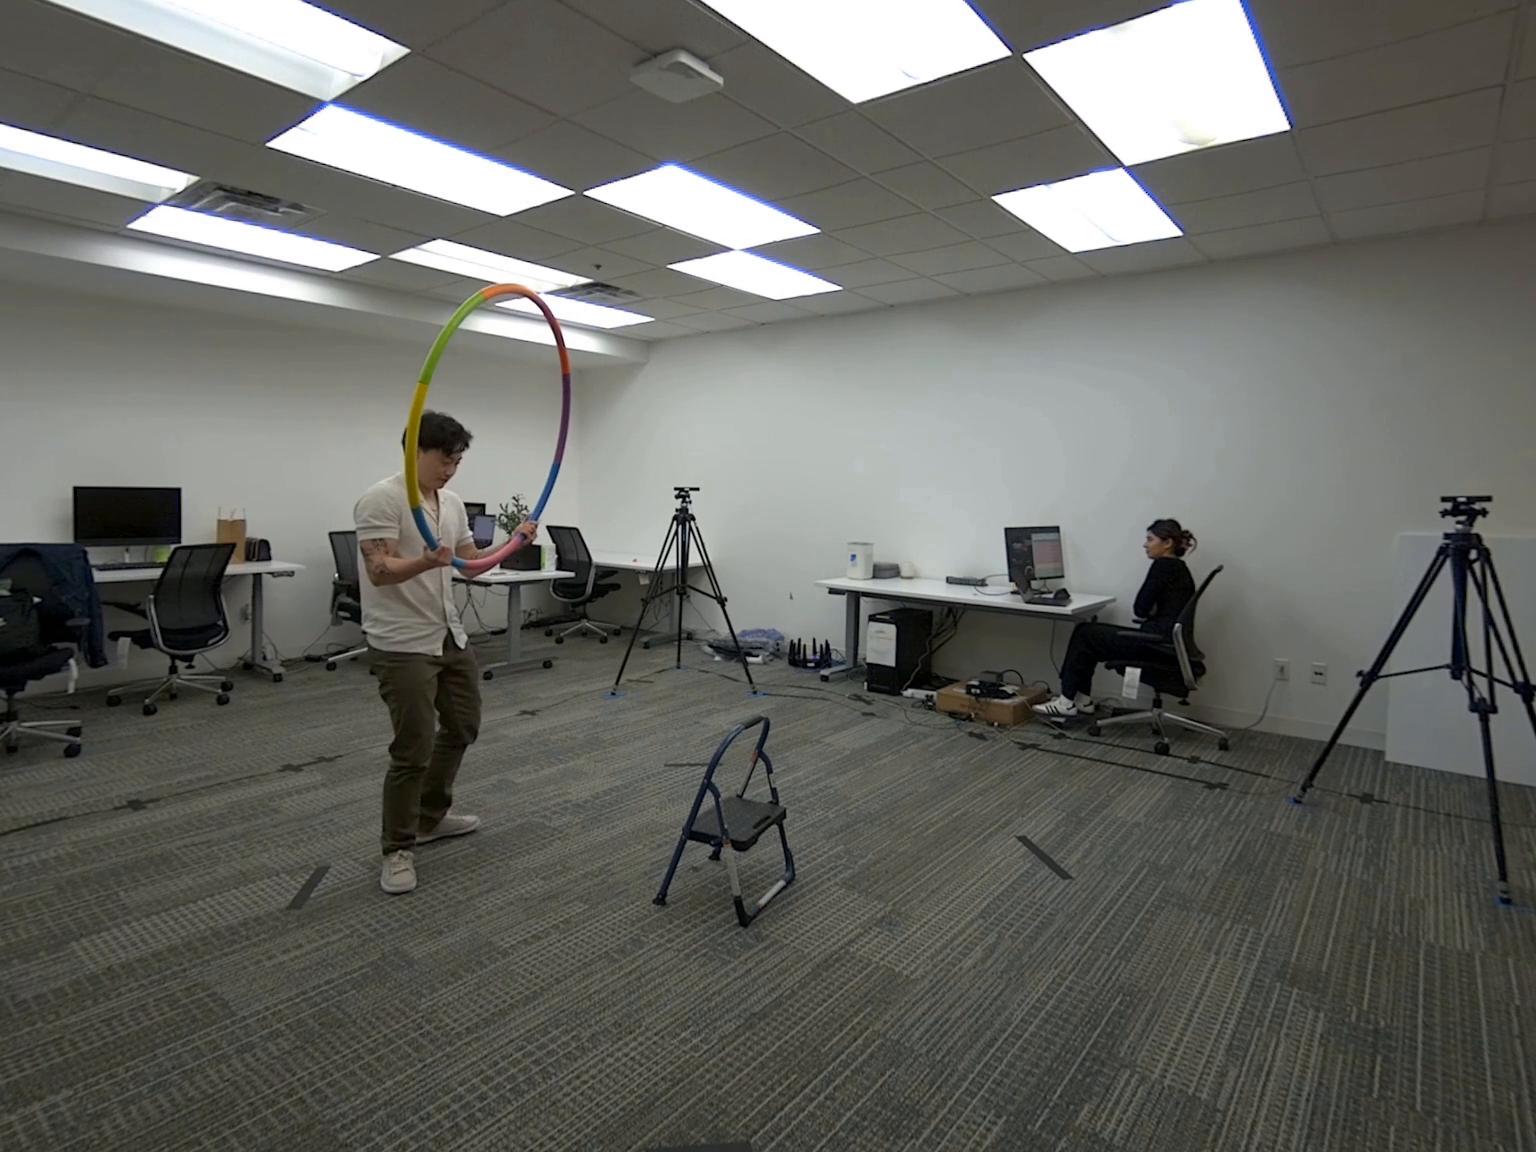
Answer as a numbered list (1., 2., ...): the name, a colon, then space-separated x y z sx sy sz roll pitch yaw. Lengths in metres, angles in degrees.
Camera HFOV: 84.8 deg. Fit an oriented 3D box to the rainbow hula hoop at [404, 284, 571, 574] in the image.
1. rainbow hula hoop: -0.941 -0.502 2.942 0.036 0.974 0.966 14 7 11
